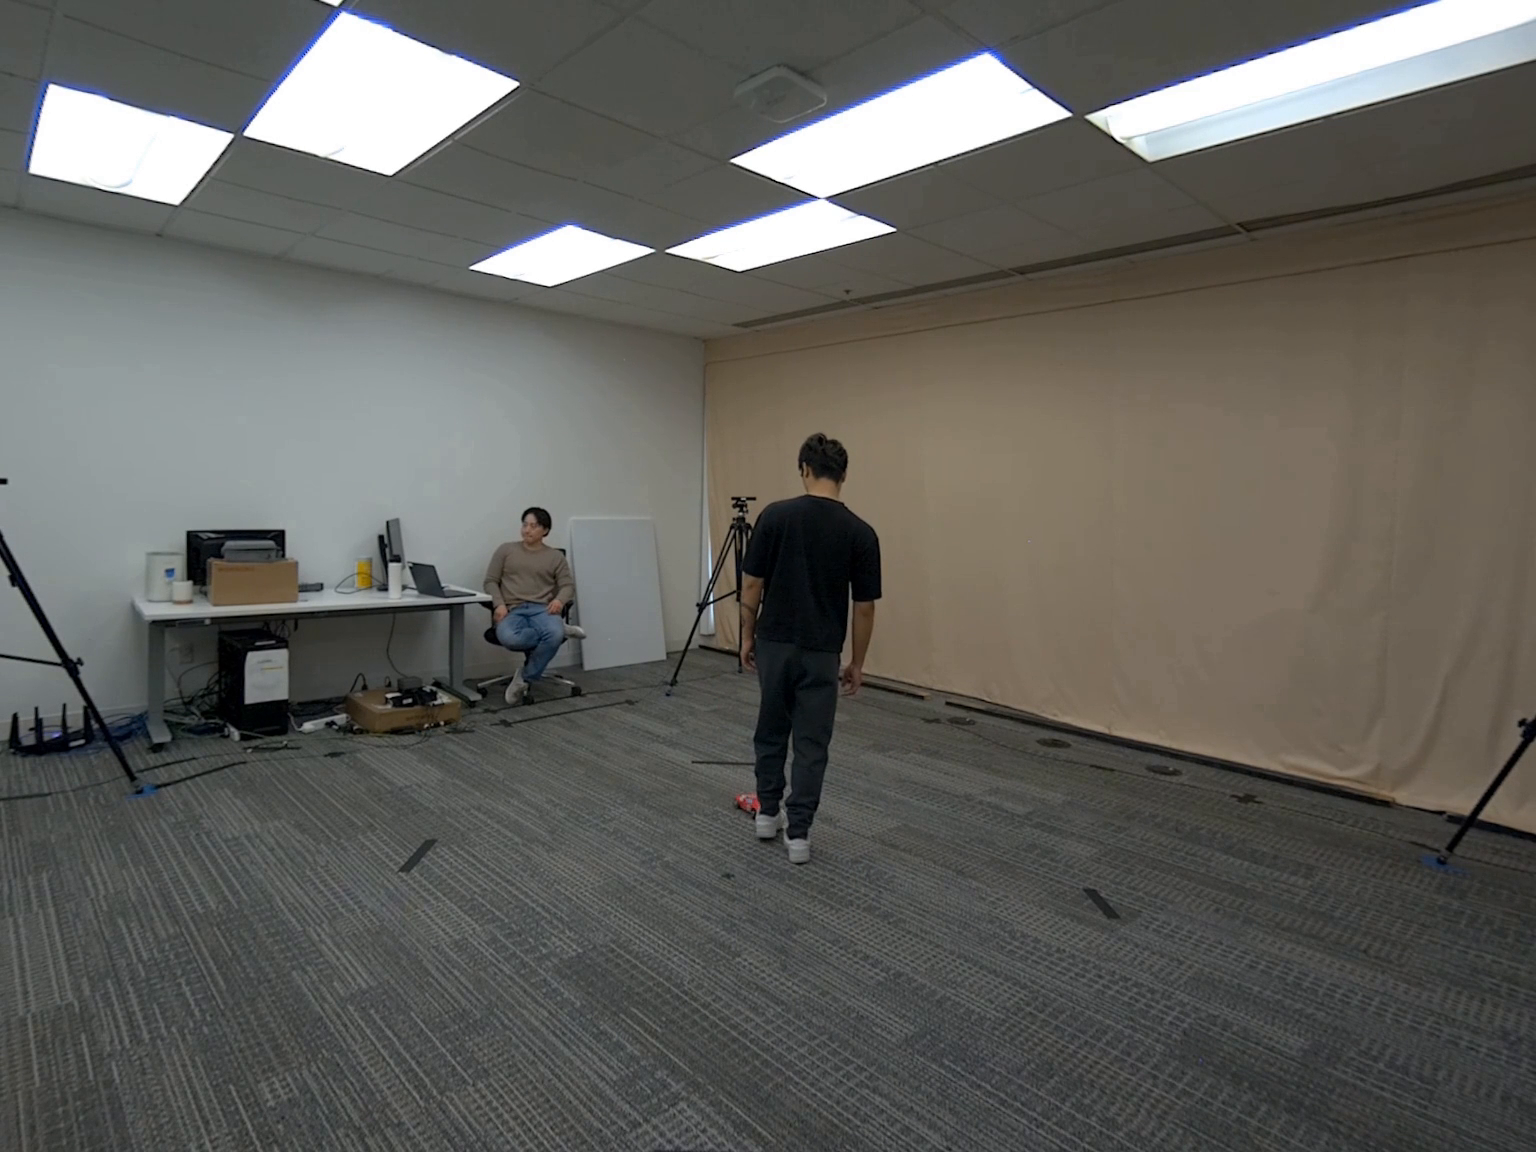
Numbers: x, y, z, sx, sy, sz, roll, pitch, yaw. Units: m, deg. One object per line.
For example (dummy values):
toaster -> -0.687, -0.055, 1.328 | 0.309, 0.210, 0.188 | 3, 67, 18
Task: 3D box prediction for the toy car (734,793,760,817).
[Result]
toy car -> -0.055, 1.022, 3.745 | 0.127, 0.083, 0.259 | 0, -6, -33
